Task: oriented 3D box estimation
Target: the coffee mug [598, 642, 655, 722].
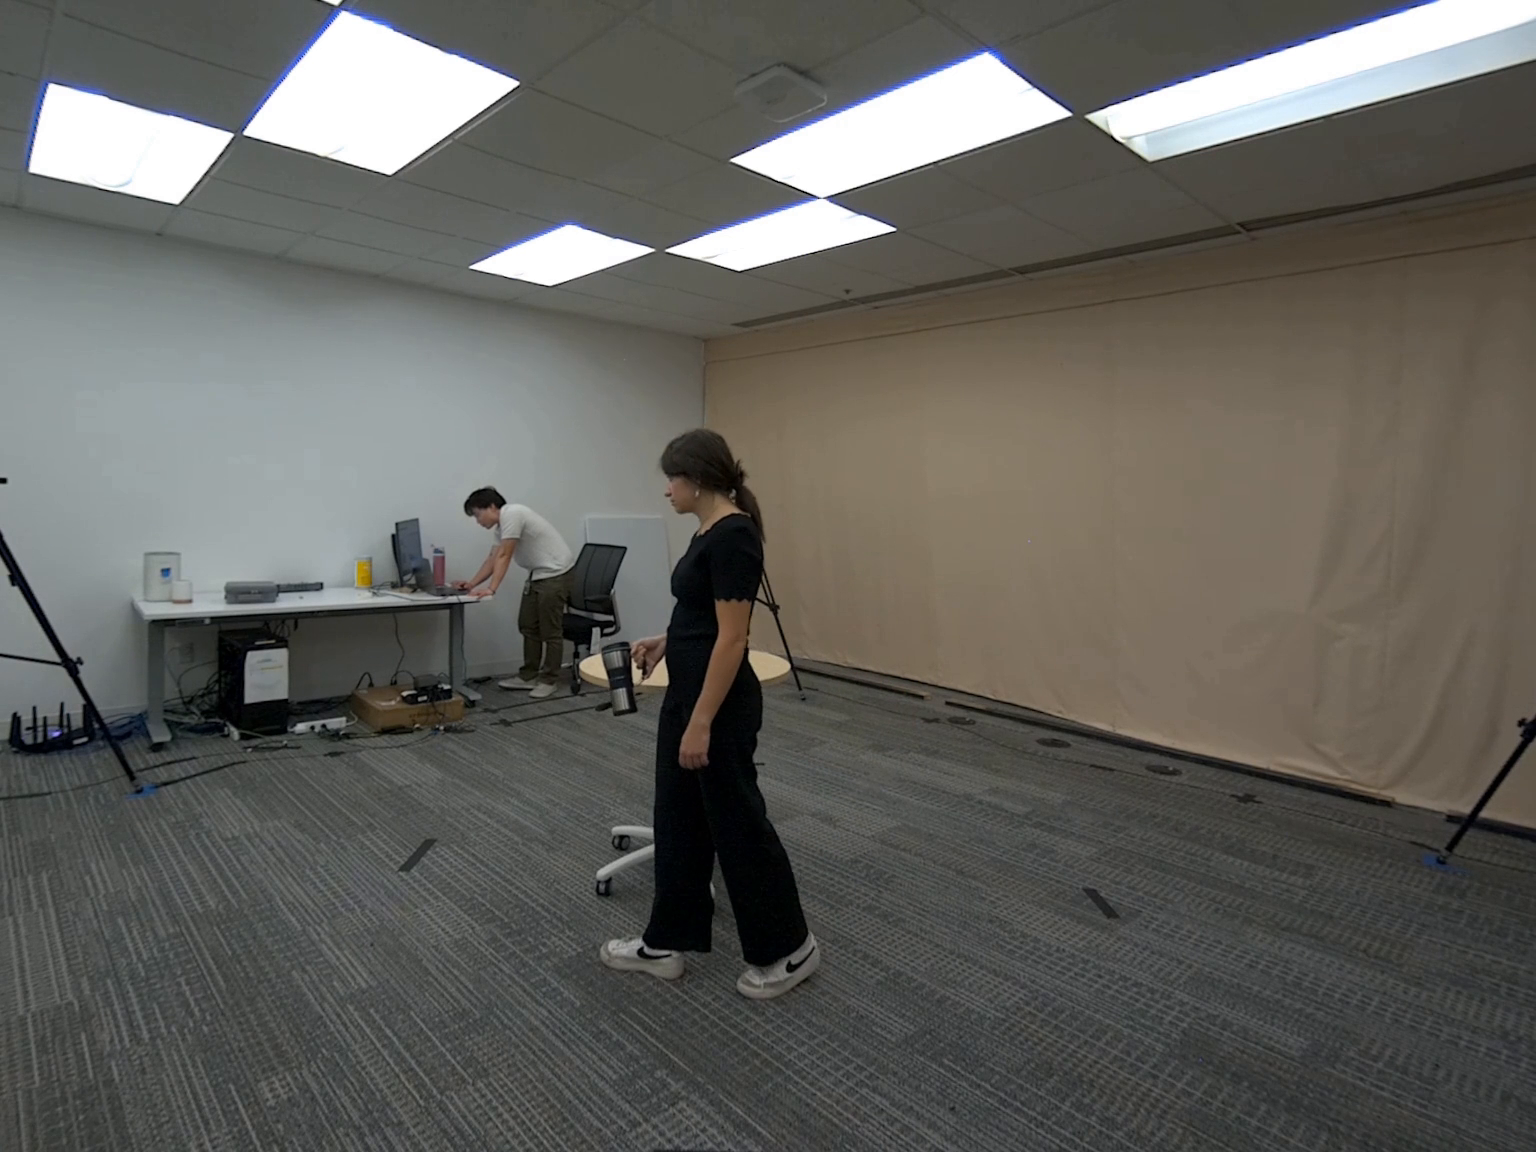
[{"bbox_3d":[-0.410,0.303,2.430,0.086,0.205,0.123,4,-20,-40],"label":"coffee mug"}]
